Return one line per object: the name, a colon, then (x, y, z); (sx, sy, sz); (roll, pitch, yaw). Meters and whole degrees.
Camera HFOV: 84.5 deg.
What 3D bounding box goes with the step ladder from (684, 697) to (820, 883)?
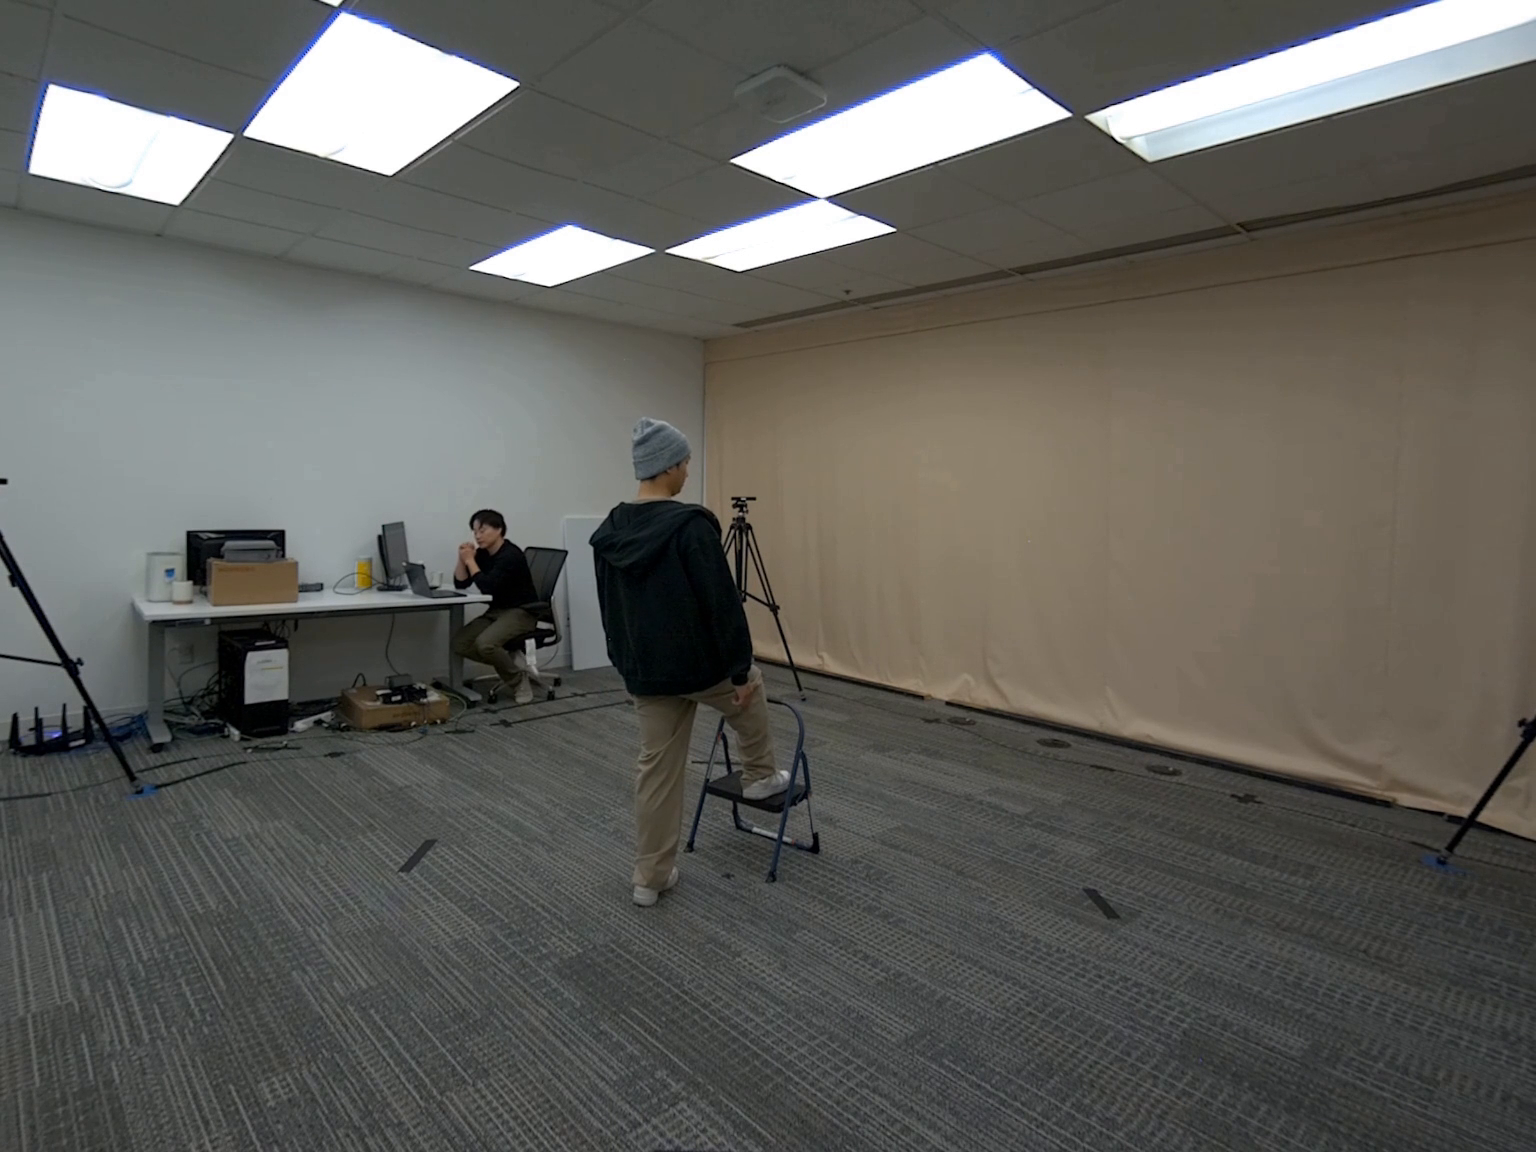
step ladder: (-0.055, 0.788, 3.307); (0.441, 0.605, 0.342); (4, 4, 36)
